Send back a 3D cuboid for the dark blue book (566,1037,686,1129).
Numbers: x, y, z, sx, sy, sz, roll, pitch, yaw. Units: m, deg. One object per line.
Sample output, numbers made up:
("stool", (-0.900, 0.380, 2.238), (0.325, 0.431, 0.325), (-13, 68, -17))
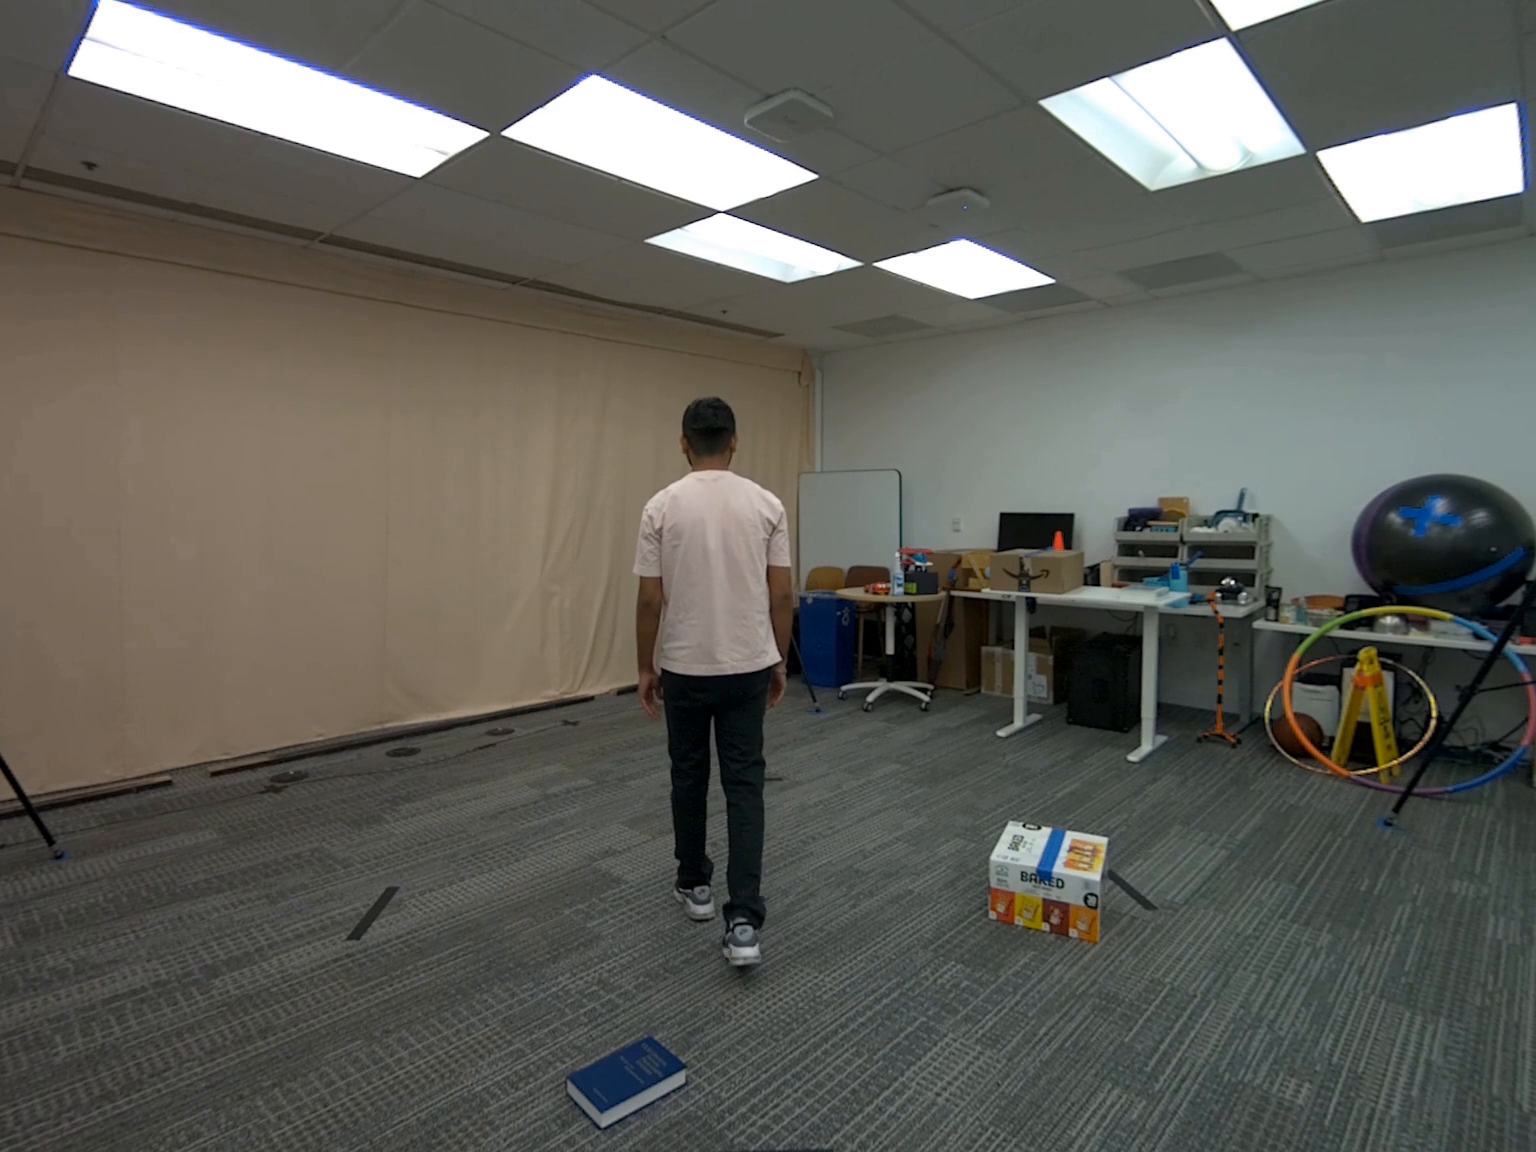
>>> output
("dark blue book", (-0.335, 1.203, 2.015), (0.238, 0.045, 0.169), (-4, 6, -41))
